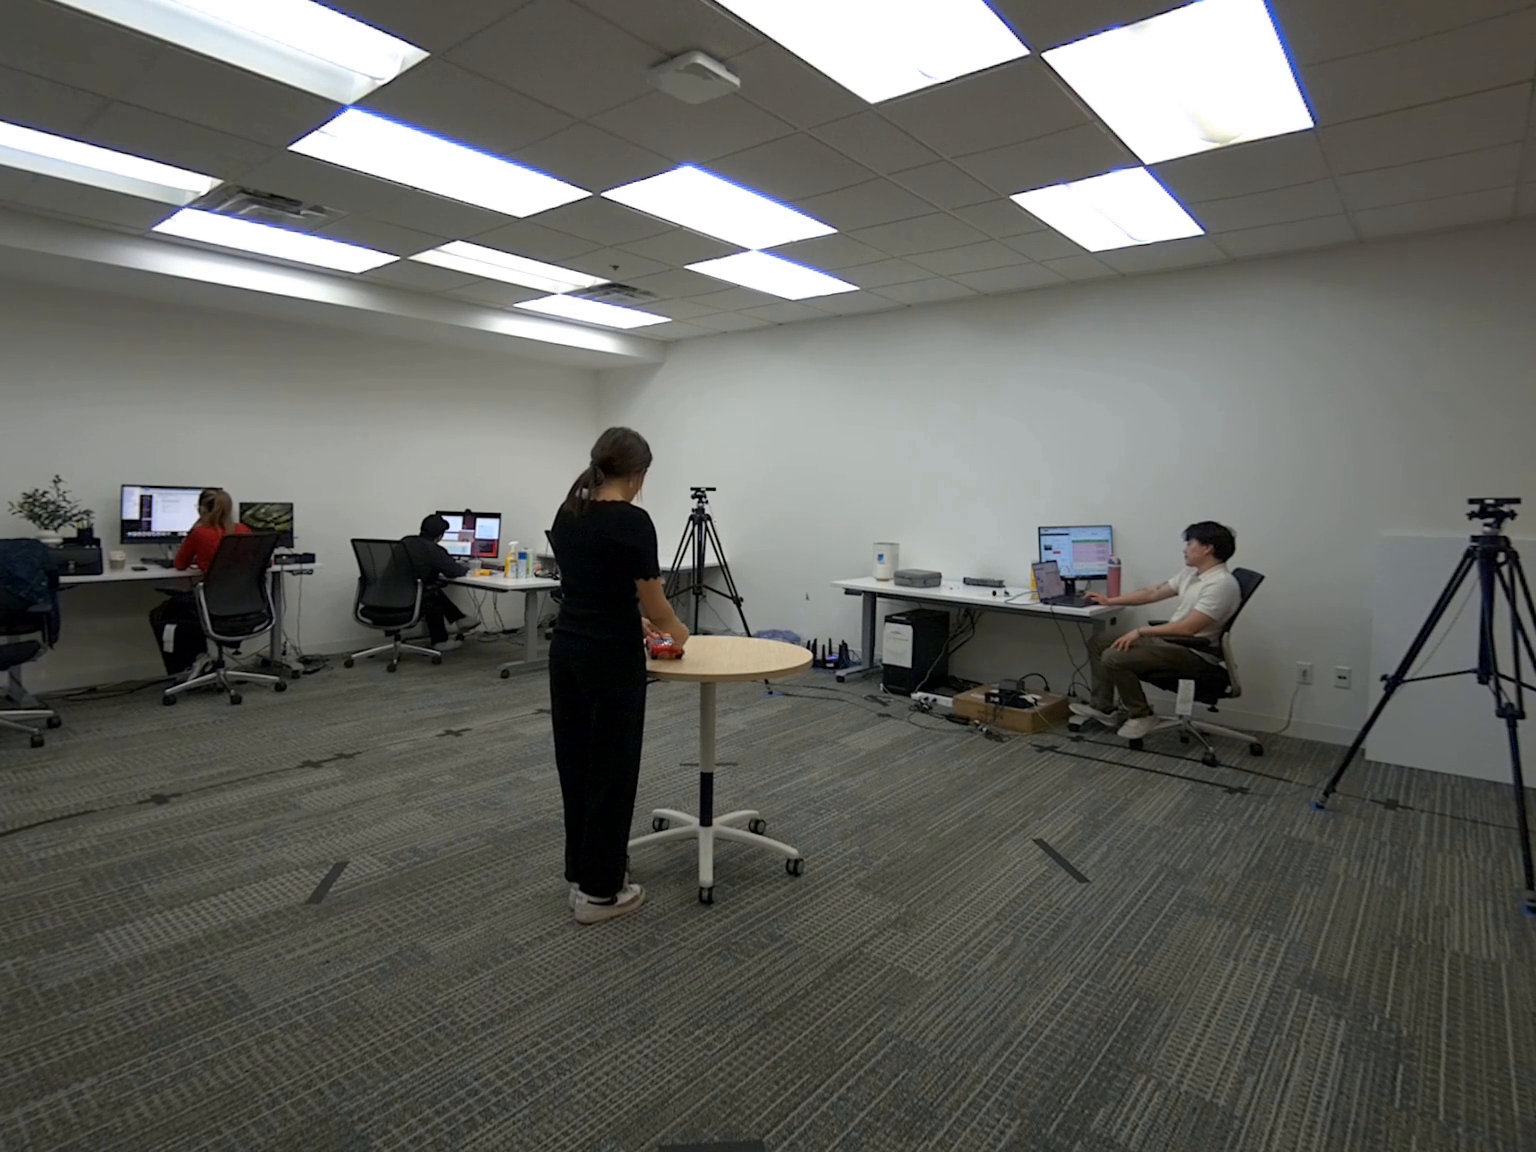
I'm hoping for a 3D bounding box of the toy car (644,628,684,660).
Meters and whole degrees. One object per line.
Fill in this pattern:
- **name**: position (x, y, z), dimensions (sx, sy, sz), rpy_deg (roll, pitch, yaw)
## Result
- **toy car**: position (-0.392, 0.250, 3.103), dimensions (0.128, 0.082, 0.261), rpy_deg (-1, 16, -14)
